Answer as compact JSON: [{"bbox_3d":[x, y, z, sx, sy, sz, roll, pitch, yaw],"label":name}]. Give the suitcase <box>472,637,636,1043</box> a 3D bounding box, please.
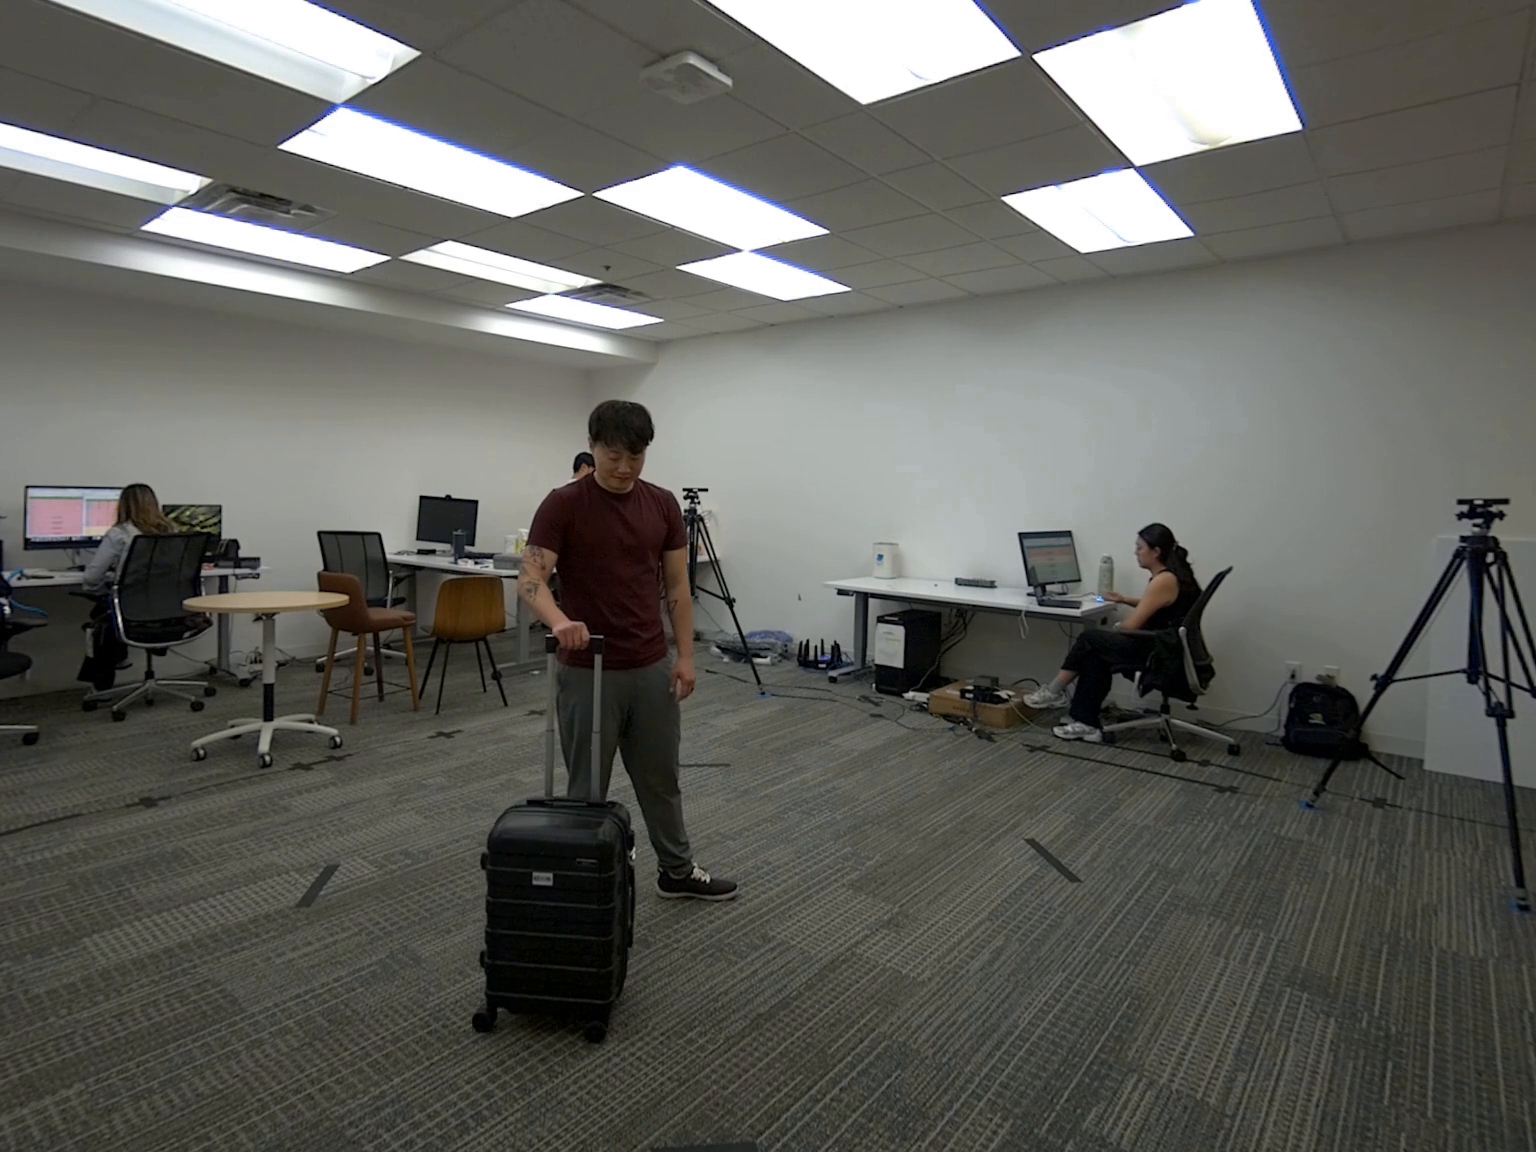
[{"bbox_3d":[-0.556,0.676,2.235,0.386,0.974,0.257,2,4,3],"label":"suitcase"}]
